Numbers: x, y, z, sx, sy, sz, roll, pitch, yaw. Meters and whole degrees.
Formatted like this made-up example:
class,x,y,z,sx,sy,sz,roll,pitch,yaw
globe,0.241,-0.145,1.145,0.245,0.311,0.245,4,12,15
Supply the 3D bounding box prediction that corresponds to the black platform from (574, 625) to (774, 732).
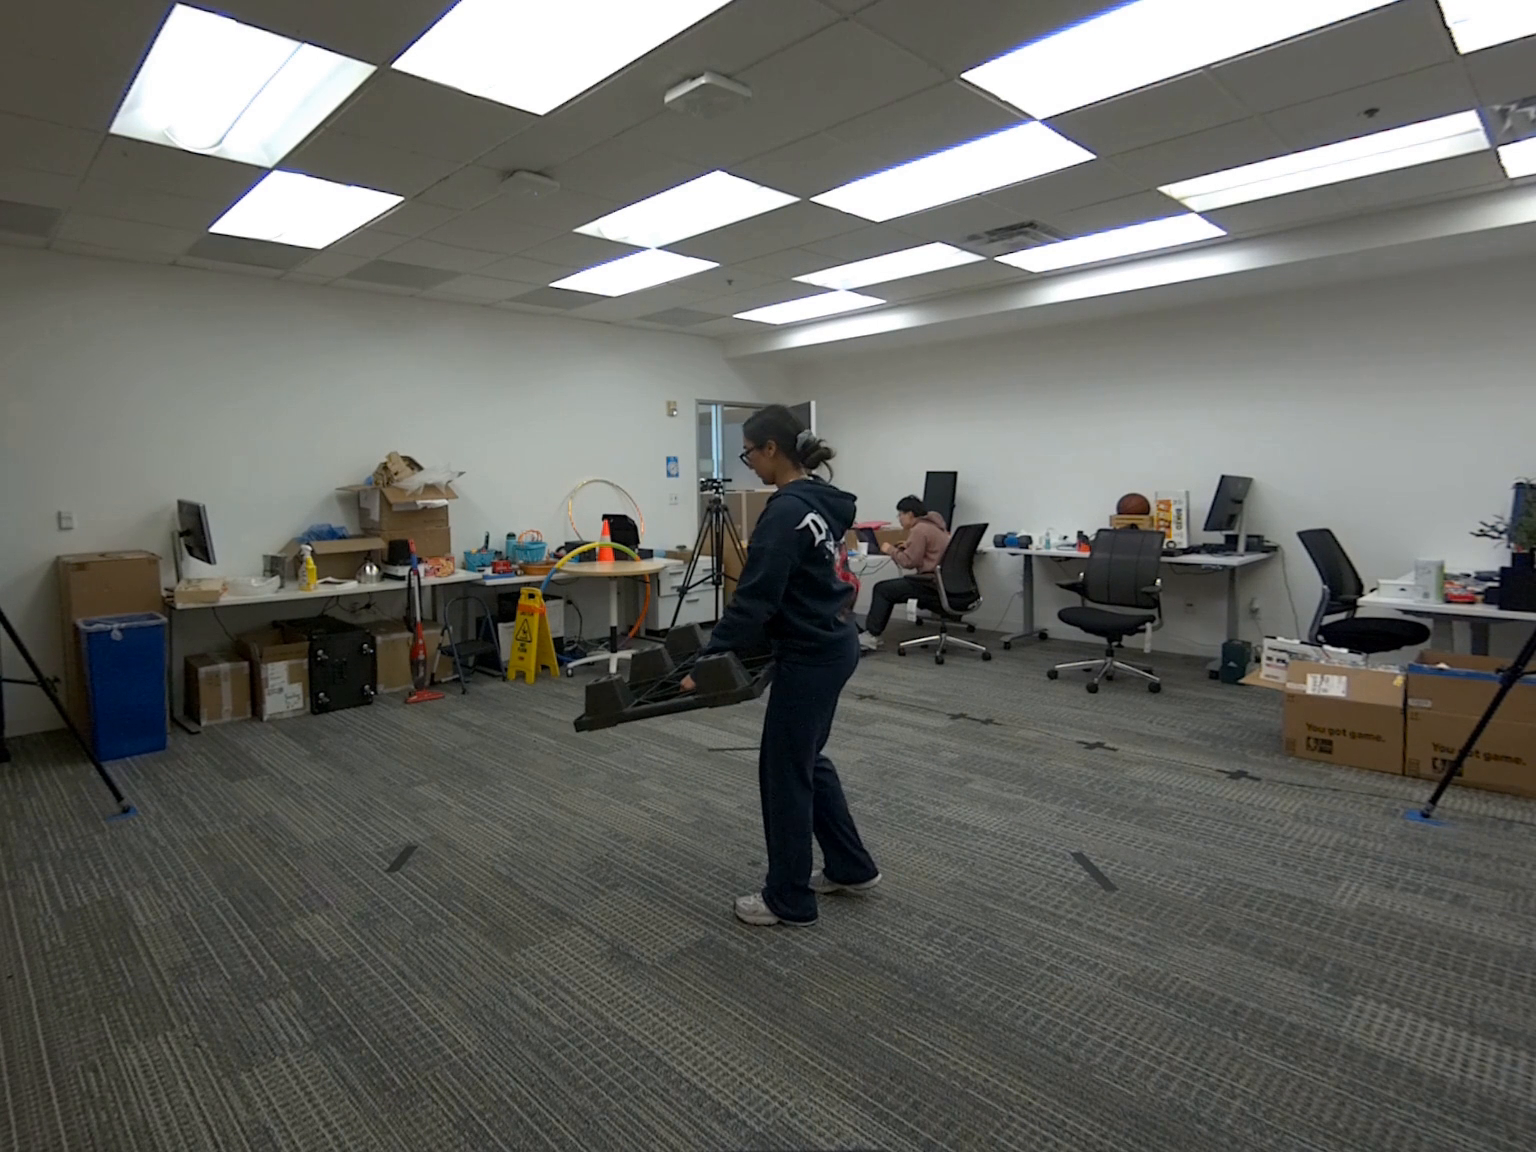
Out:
class,x,y,z,sx,sy,sz,roll,pitch,yaw
black platform,-0.214,0.275,2.833,0.613,0.142,0.799,-15,7,18
